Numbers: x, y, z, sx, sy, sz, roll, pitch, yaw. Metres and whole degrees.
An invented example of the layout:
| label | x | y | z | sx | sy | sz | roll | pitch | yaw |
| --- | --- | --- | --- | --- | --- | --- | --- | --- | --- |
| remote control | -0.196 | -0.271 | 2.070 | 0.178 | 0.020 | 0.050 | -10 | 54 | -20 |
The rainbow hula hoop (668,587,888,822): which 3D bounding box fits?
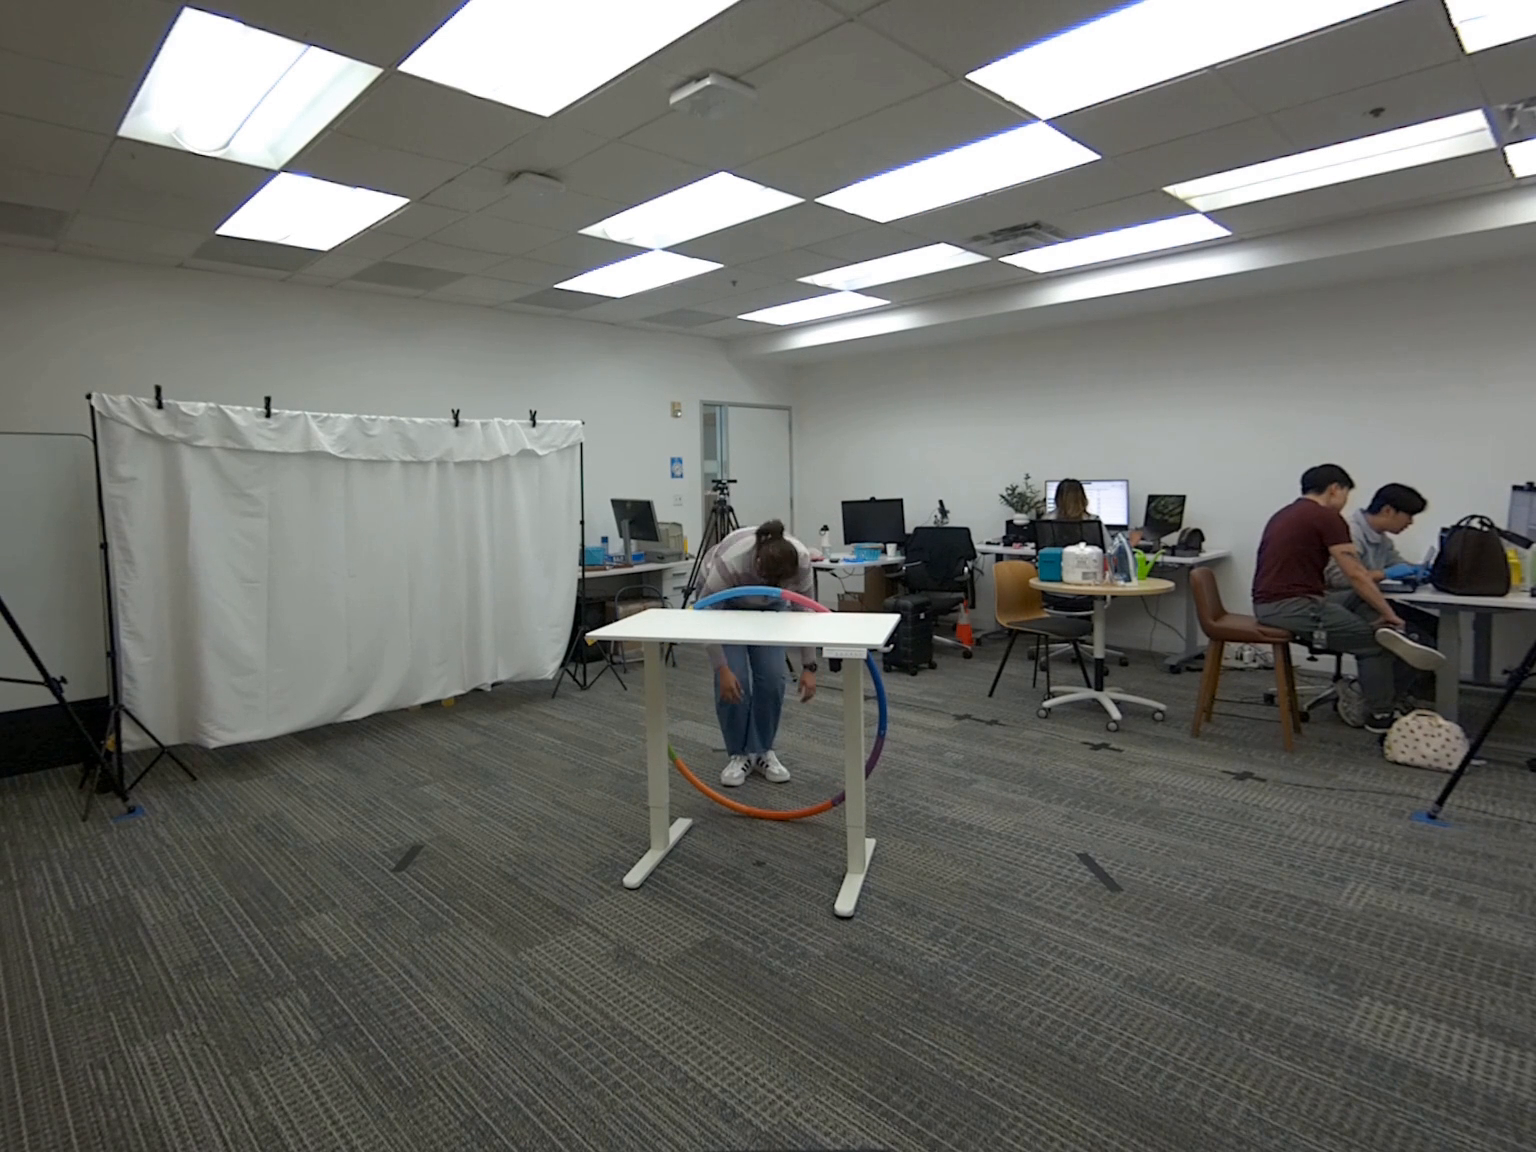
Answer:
| label | x | y | z | sx | sy | sz | roll | pitch | yaw |
| --- | --- | --- | --- | --- | --- | --- | --- | --- | --- |
| rainbow hula hoop | -0.009 | 0.529 | 3.437 | 0.994 | 0.968 | 0.035 | 1 | 11 | 17 |
